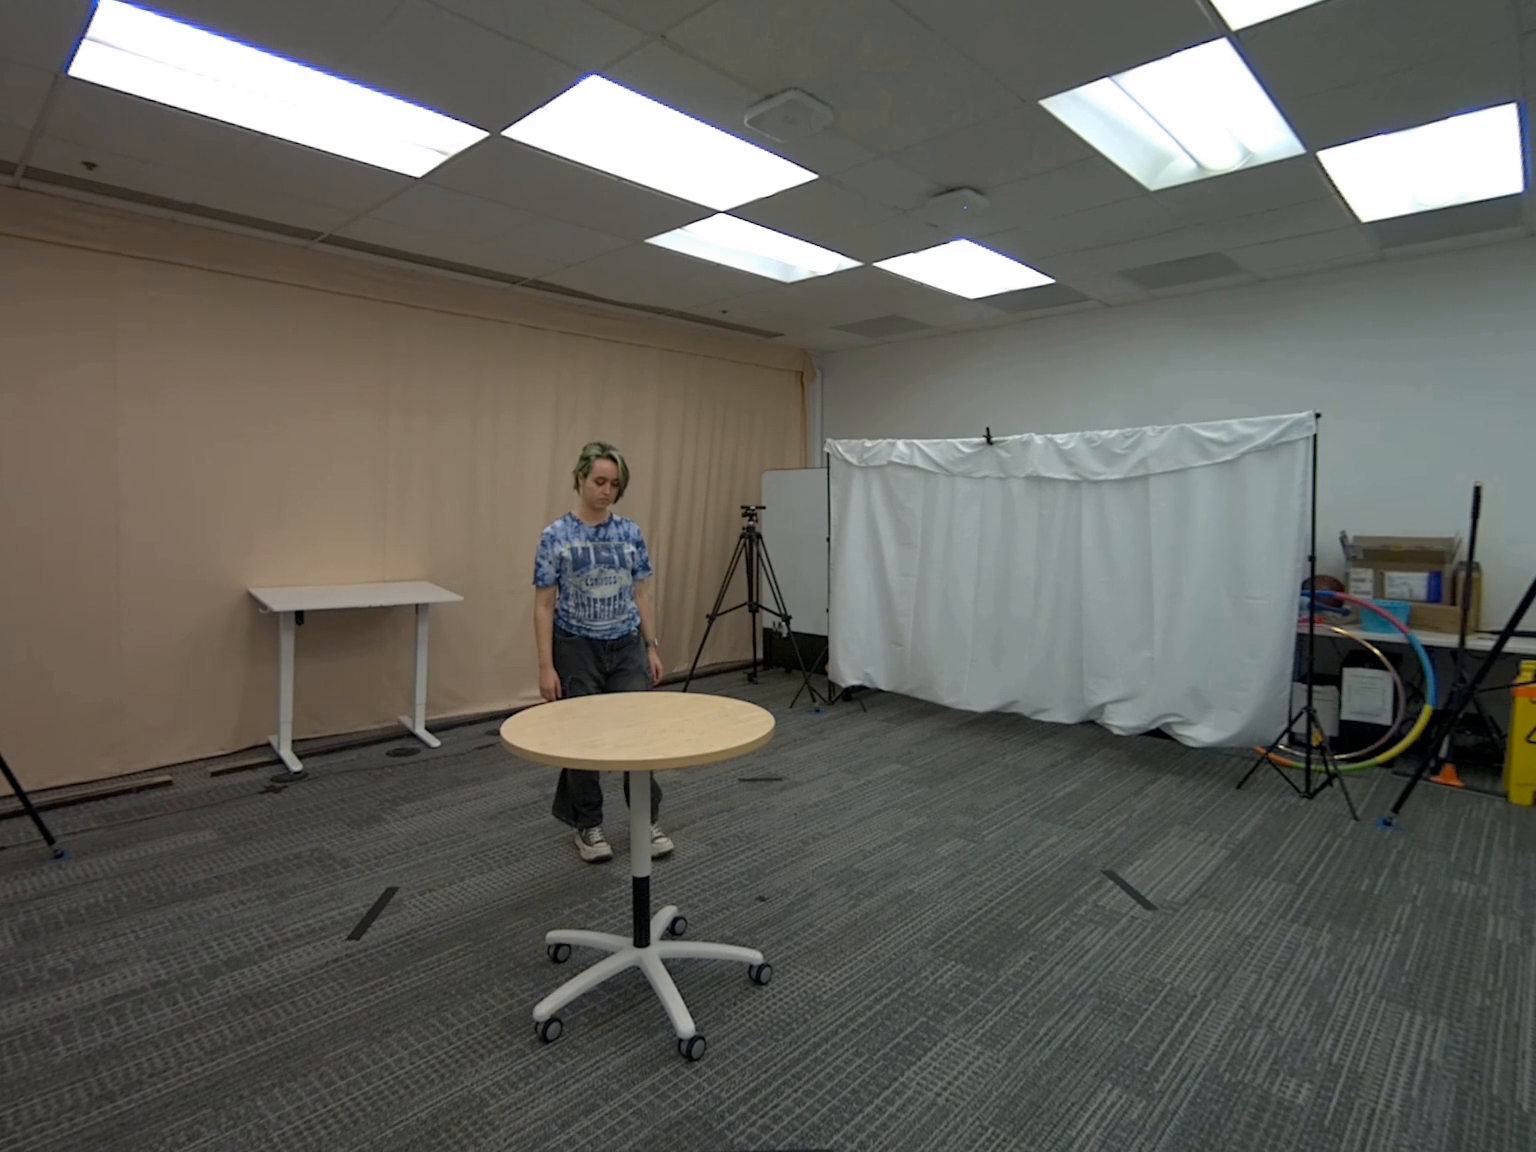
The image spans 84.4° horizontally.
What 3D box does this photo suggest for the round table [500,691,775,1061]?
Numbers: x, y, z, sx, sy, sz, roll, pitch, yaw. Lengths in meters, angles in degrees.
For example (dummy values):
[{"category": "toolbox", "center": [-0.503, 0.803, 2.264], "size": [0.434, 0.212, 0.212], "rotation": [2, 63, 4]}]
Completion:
[{"category": "round table", "center": [-0.361, 0.809, 2.393], "size": [0.763, 0.792, 0.766], "rotation": [-1, 4, -2]}]
